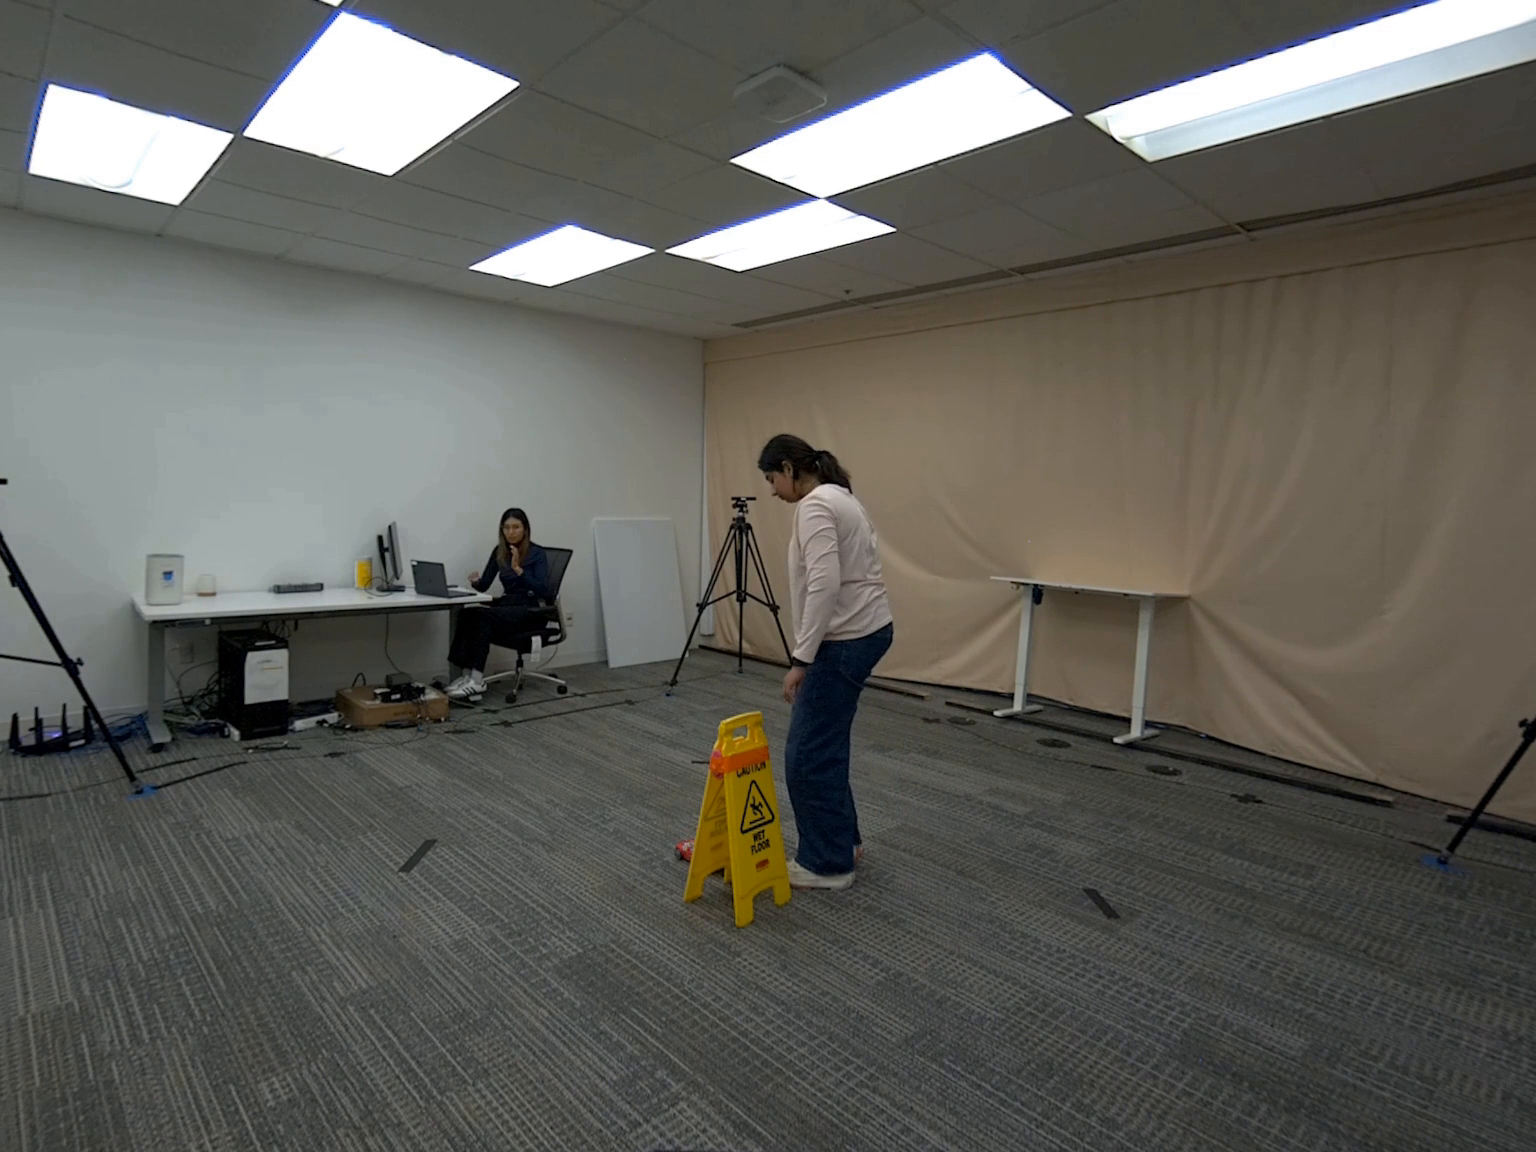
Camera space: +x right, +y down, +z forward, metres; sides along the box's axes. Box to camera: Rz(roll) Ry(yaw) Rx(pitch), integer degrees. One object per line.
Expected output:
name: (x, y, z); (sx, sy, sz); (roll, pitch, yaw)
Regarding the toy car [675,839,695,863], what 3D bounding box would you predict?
toy car: (-0.242, 1.062, 3.199); (0.127, 0.083, 0.259); (-3, -4, -41)
